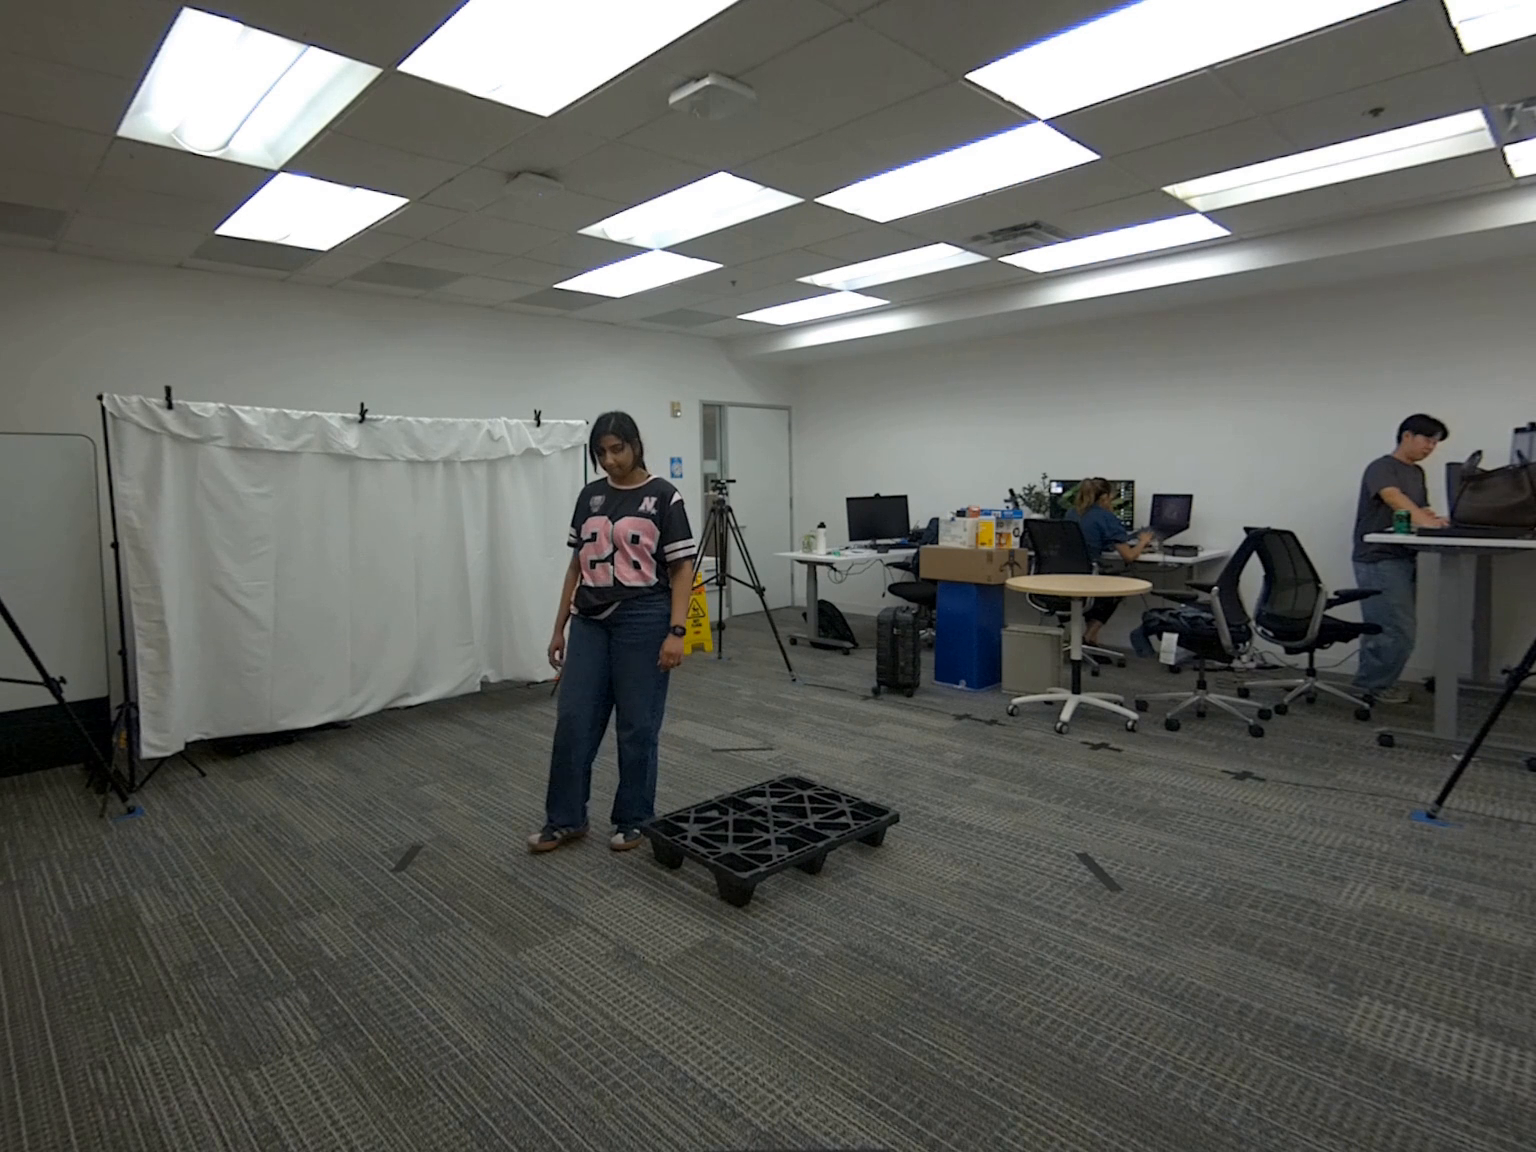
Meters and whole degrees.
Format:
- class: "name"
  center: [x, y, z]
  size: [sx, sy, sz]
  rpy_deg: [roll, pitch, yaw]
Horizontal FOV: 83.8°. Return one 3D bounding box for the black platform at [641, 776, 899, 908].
- class: "black platform"
  center: [0.020, 0.970, 3.195]
  size: [0.785, 0.142, 0.624]
  rpy_deg: [-7, 9, -41]
